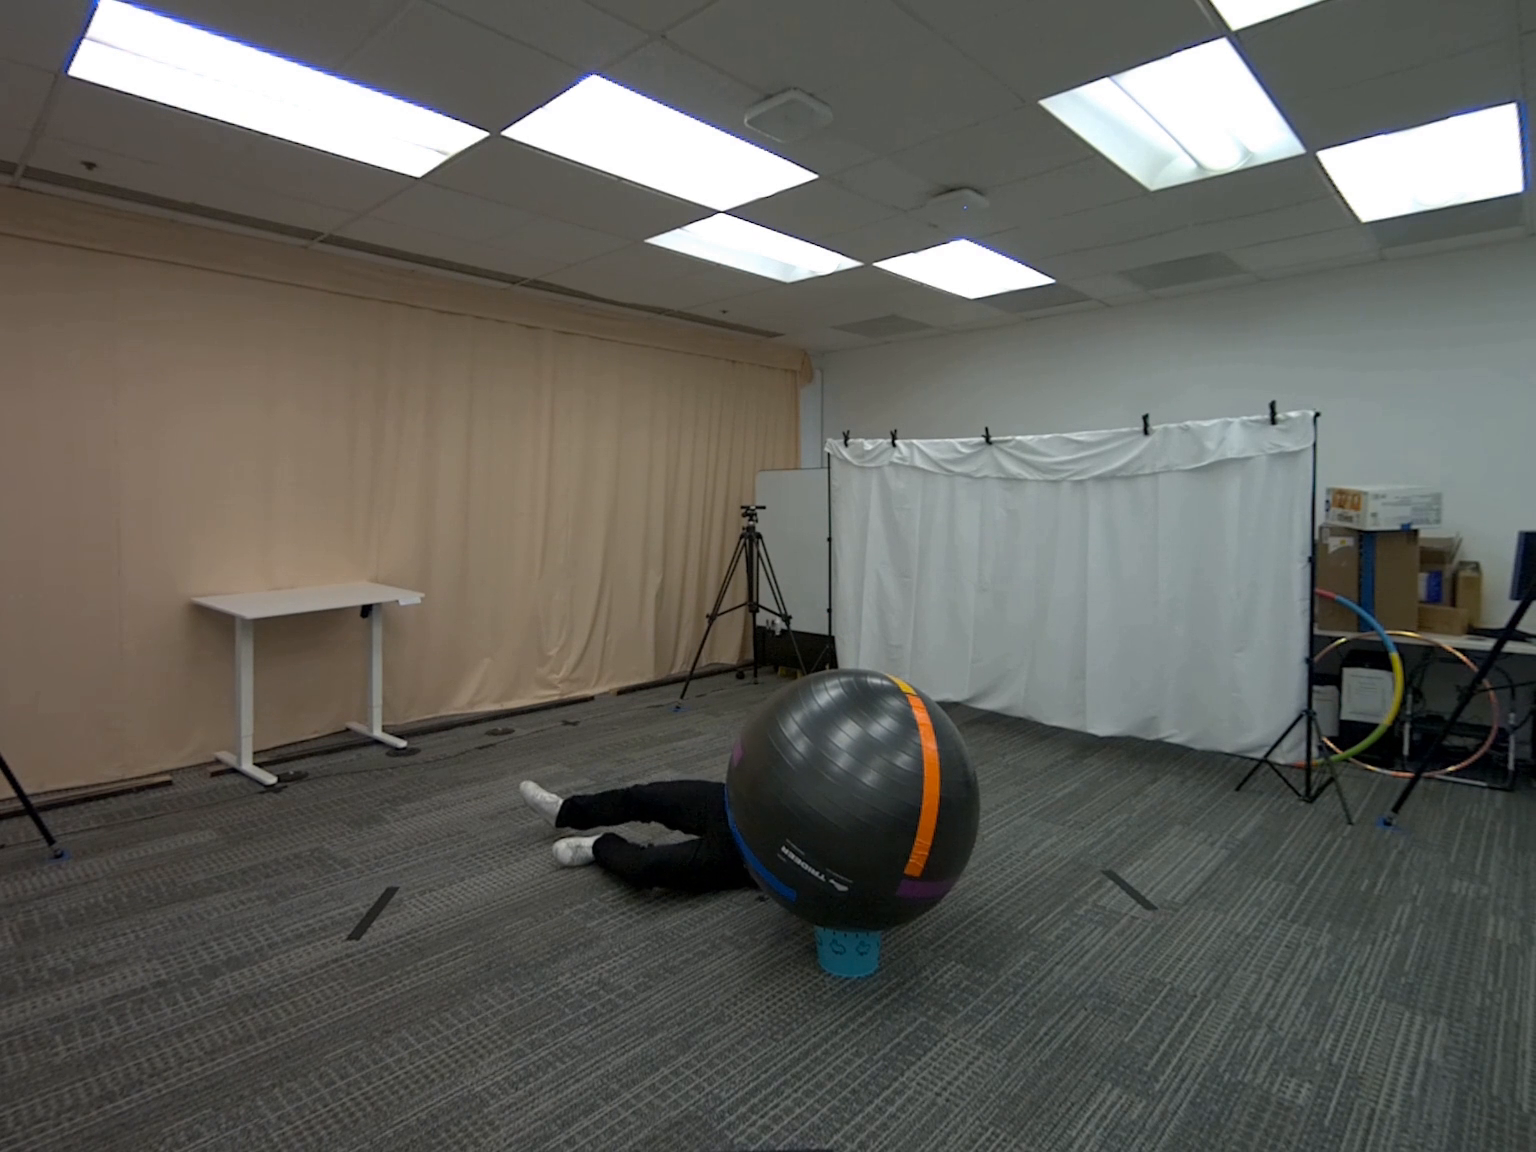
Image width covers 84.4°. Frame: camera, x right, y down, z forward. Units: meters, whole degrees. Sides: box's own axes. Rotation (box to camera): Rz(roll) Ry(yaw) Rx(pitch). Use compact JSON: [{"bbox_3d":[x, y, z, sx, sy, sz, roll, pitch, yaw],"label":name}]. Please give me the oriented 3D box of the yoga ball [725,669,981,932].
[{"bbox_3d":[0.260,0.673,2.544,0.757,0.756,0.760,0,4,-2],"label":"yoga ball"}]
